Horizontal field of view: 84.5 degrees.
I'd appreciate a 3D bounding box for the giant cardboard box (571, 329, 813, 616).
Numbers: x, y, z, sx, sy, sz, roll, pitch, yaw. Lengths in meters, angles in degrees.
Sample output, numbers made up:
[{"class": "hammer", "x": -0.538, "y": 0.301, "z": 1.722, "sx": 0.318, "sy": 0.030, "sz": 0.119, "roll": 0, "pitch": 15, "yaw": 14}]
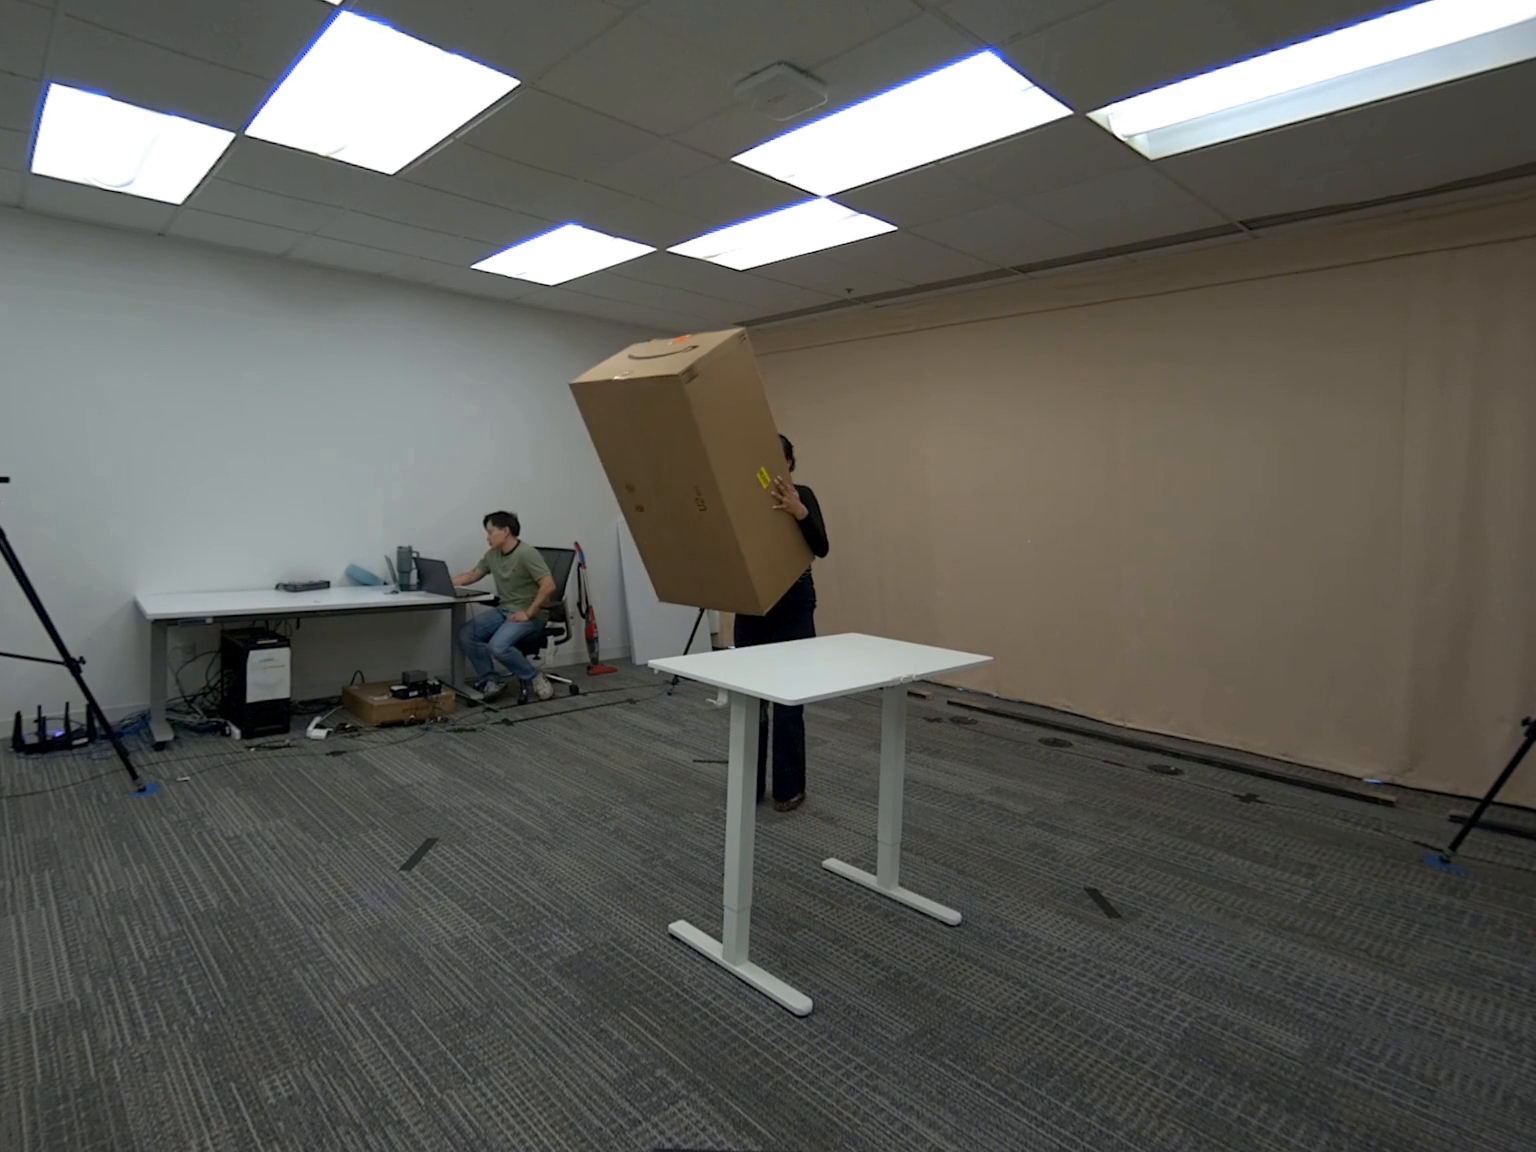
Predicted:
[{"class": "giant cardboard box", "x": -0.287, "y": -0.391, "z": 3.366, "sx": 0.592, "sy": 1.003, "sz": 0.425, "roll": 5, "pitch": 35, "yaw": 39}]
